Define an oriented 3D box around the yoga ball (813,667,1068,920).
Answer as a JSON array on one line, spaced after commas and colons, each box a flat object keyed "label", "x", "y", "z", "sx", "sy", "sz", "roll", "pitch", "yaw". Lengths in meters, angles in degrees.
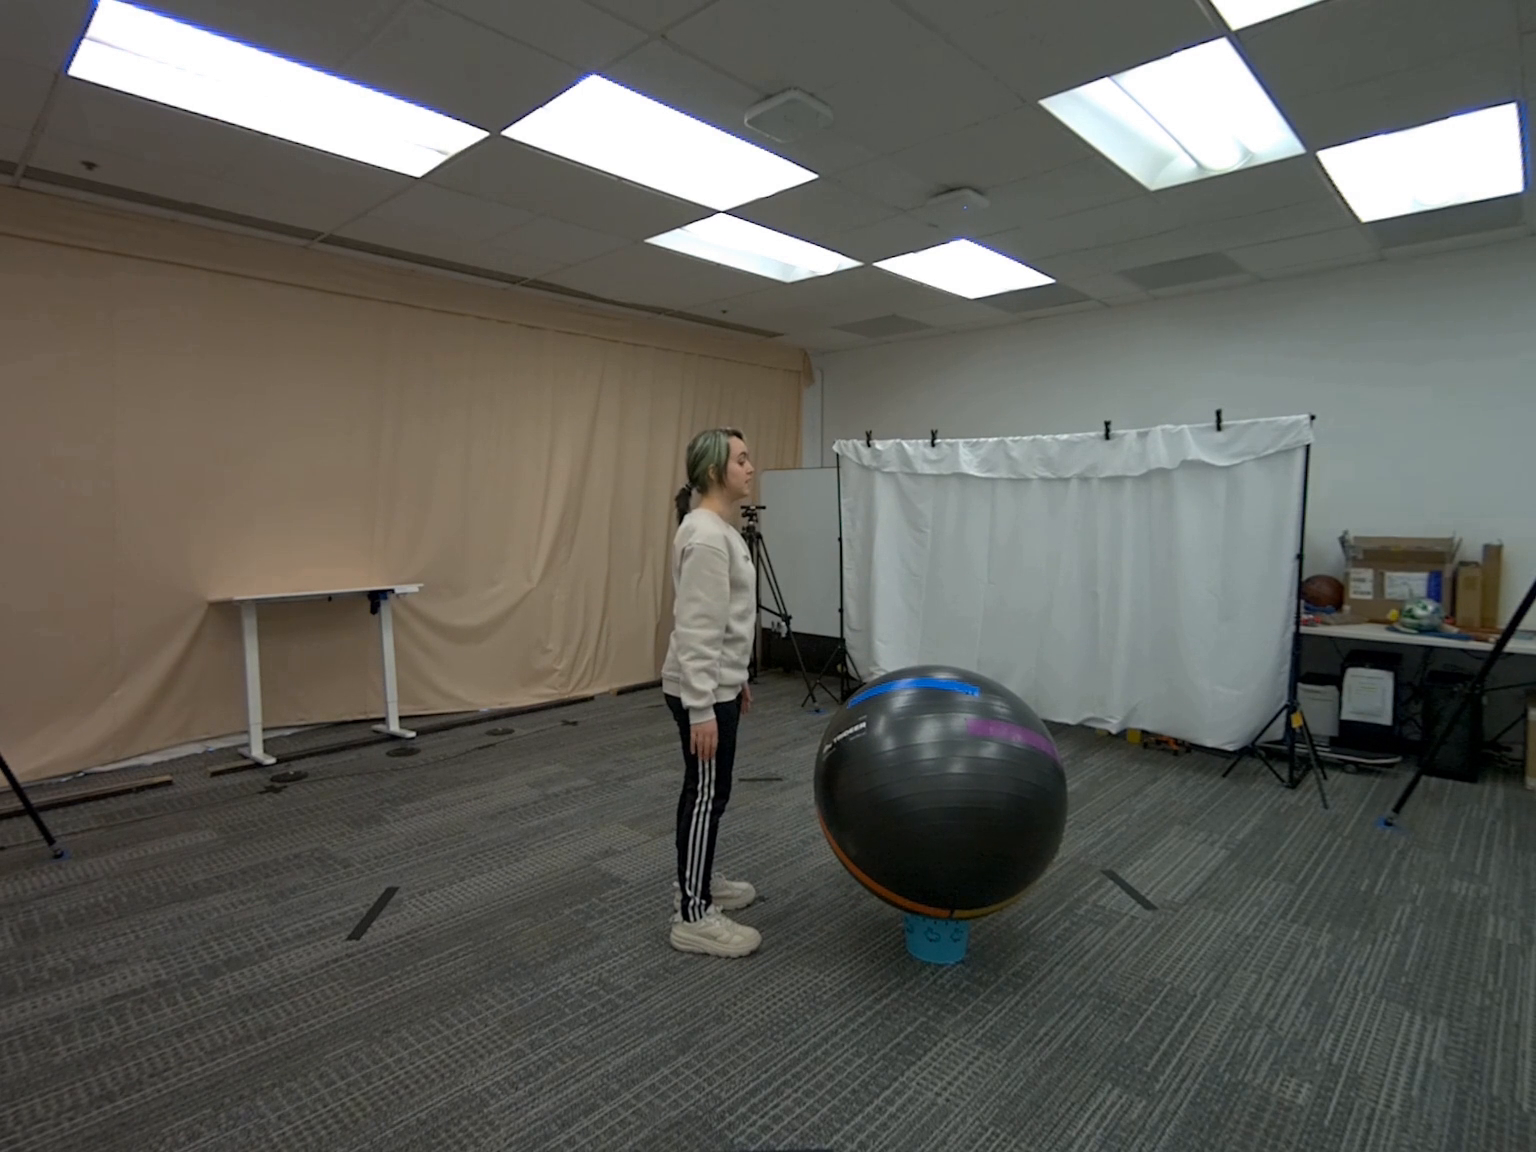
[{"label": "yoga ball", "x": 0.534, "y": 0.662, "z": 2.622, "sx": 0.757, "sy": 0.756, "sz": 0.760, "roll": 0, "pitch": 4, "yaw": -2}]
